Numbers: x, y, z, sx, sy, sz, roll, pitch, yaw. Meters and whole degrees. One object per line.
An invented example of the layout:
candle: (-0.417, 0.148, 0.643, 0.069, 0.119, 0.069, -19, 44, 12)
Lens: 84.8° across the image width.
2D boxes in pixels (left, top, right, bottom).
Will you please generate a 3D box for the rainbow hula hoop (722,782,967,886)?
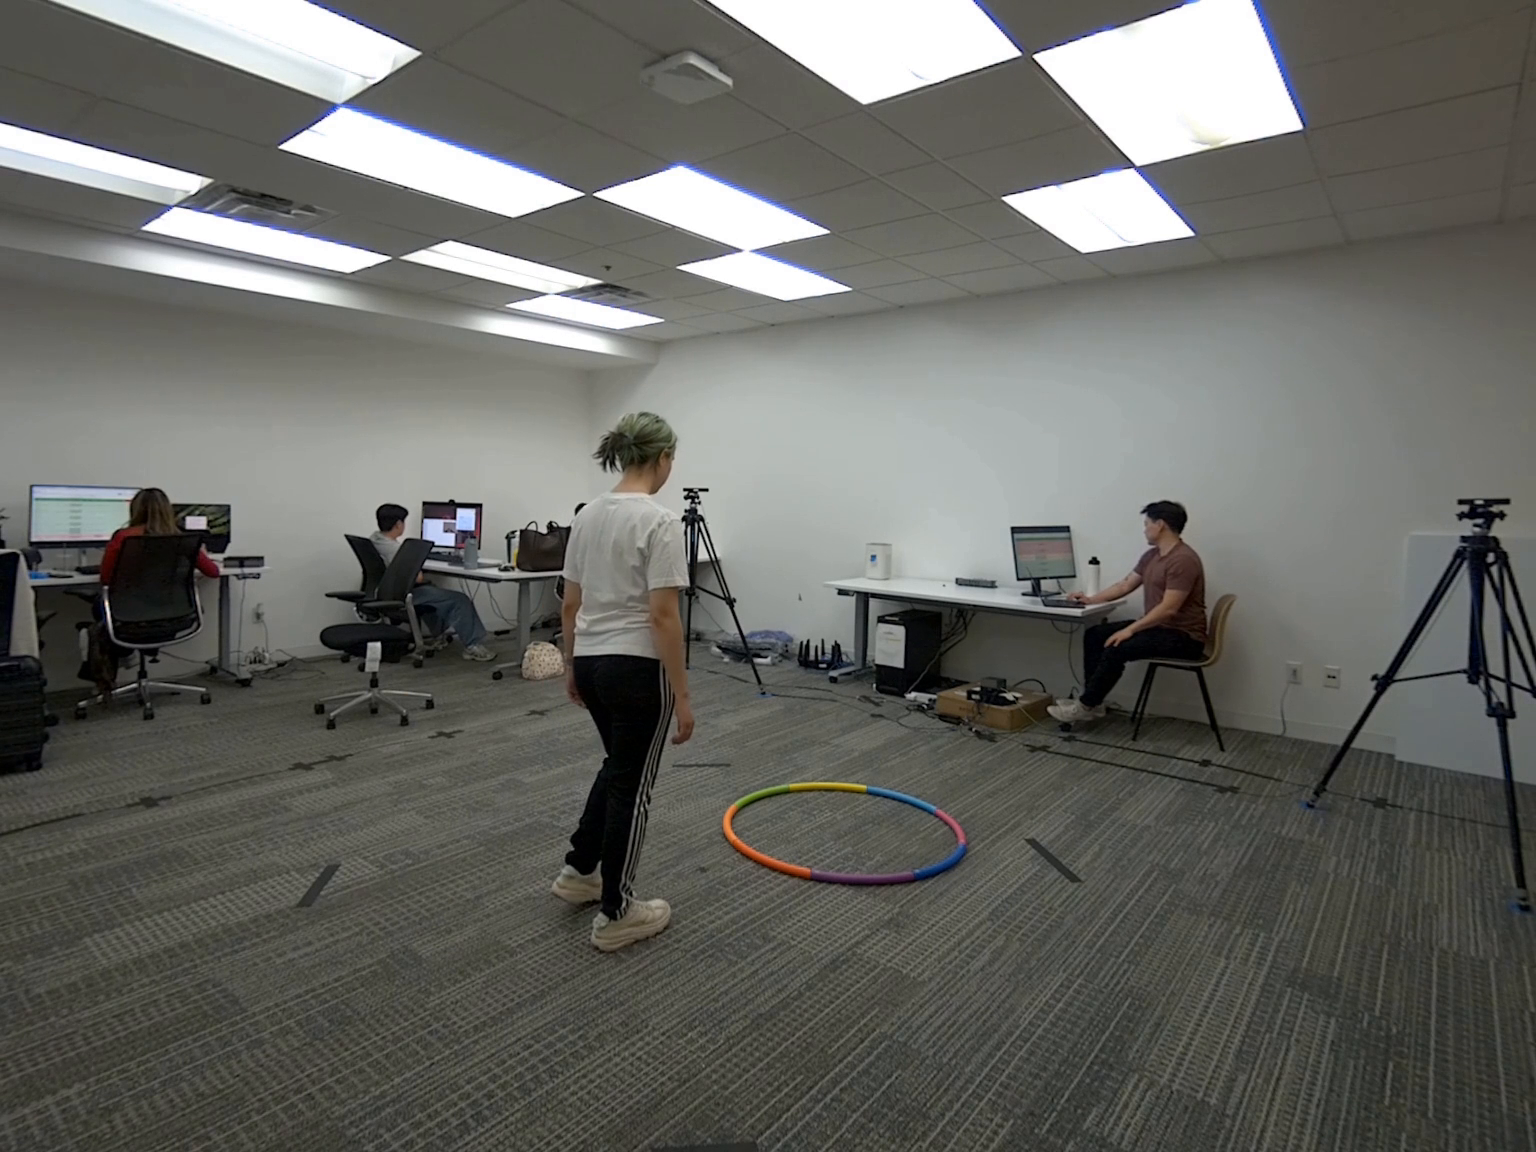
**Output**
rainbow hula hoop: (0.294, 1.012, 3.486, 0.978, 0.035, 0.984, 1, 6, -2)
